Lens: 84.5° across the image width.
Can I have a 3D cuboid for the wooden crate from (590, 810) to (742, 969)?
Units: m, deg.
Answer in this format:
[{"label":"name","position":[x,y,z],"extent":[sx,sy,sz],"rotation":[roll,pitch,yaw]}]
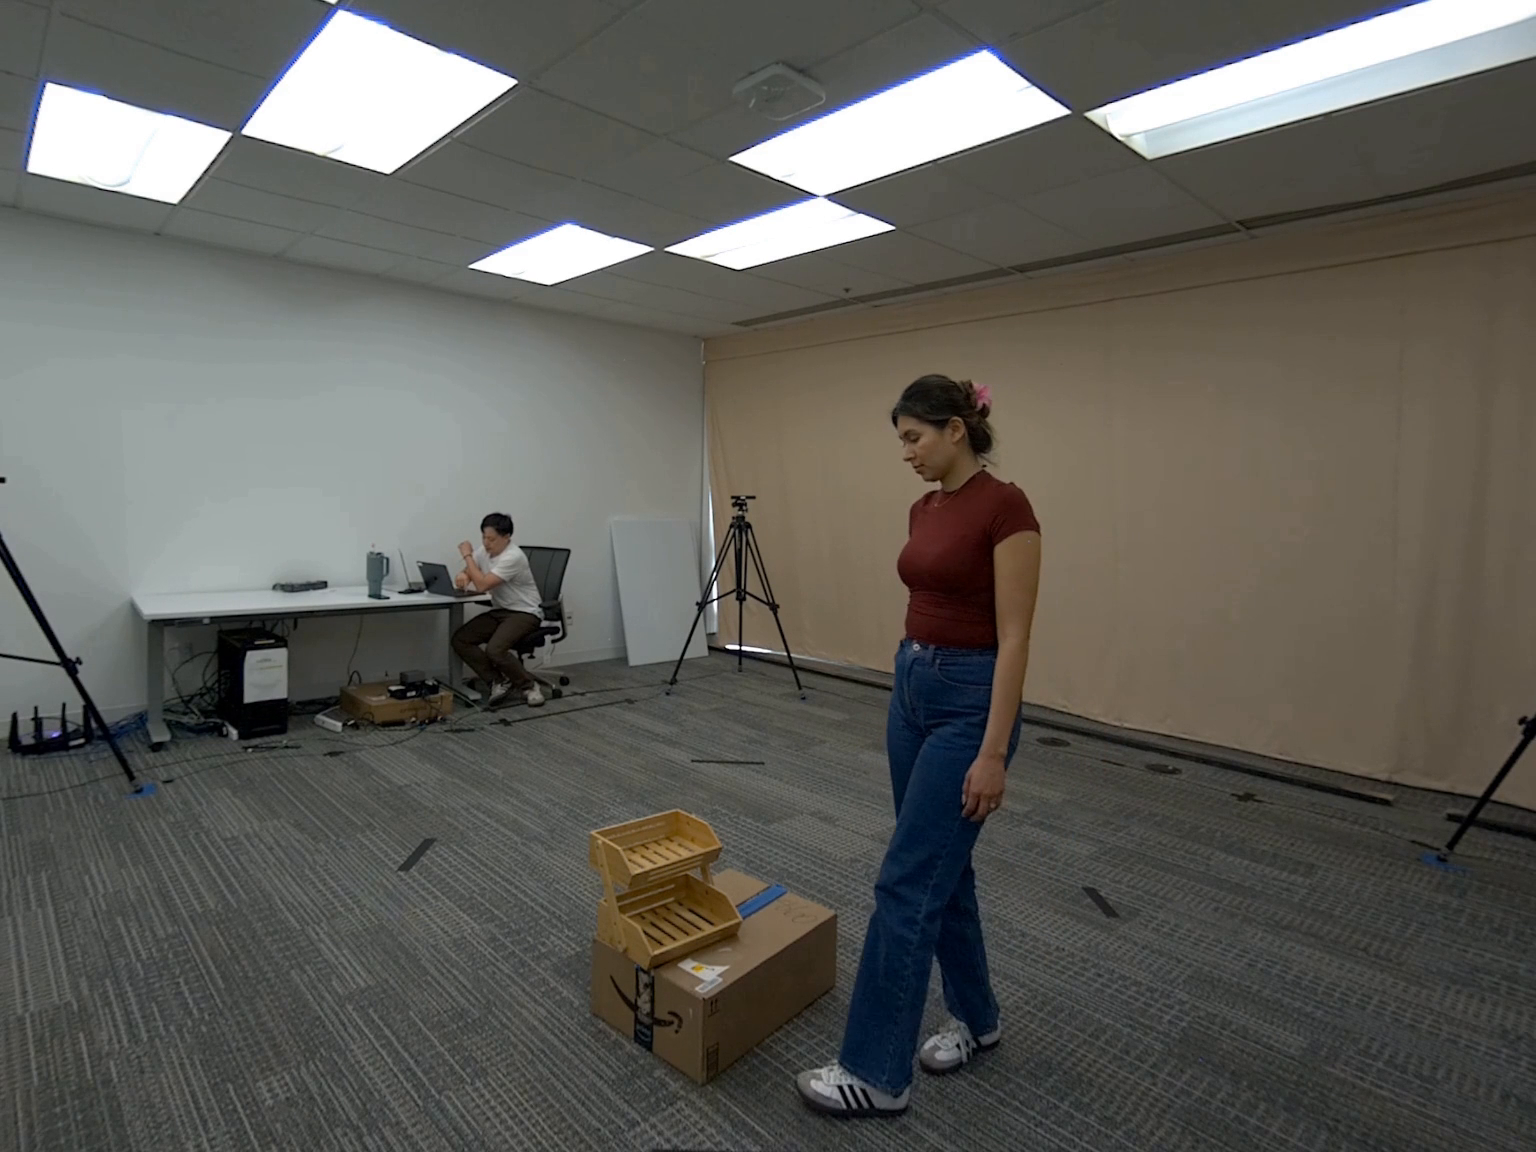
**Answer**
[{"label":"wooden crate","position":[-0.281,0.832,2.264],"extent":[0.317,0.273,0.309],"rotation":[-1,4,-42]}]
